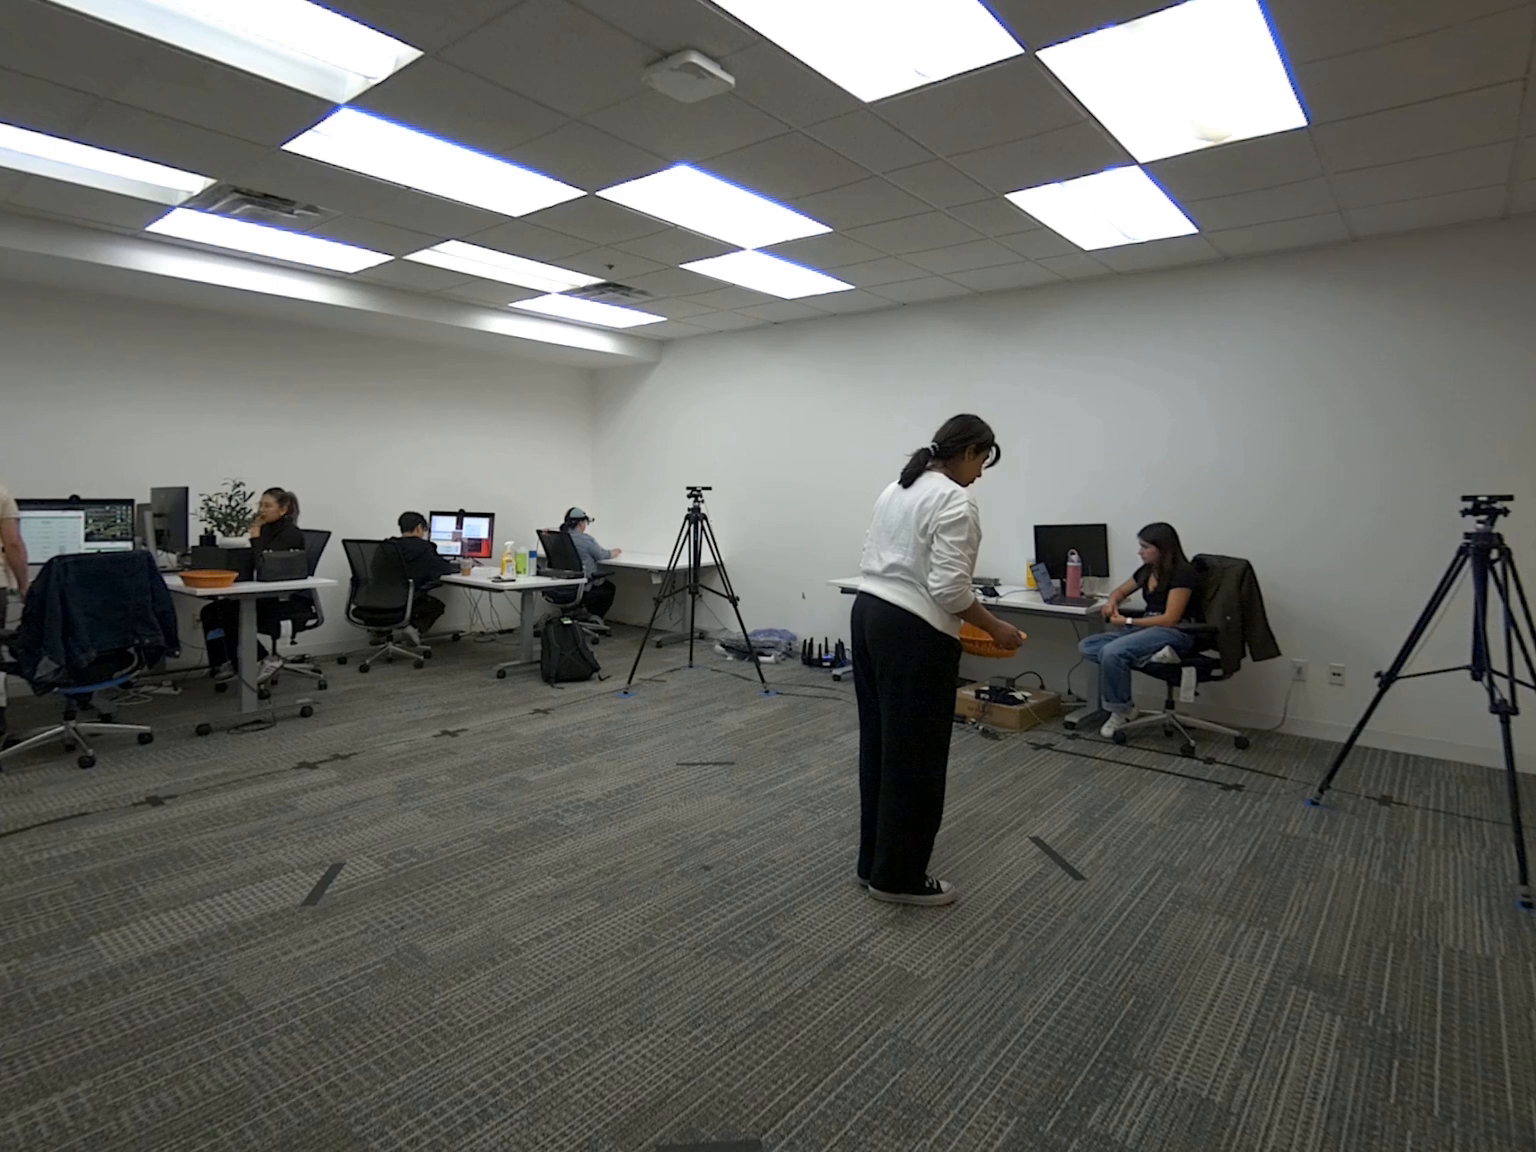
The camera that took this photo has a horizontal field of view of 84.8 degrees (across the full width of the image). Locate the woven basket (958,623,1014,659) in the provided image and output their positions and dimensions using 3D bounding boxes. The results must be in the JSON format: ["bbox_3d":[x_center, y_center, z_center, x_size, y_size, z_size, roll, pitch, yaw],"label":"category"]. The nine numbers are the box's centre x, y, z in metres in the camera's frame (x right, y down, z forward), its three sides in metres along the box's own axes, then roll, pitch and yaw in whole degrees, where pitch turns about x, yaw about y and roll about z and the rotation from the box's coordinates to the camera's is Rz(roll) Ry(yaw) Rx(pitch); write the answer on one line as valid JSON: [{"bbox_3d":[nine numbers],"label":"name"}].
[{"bbox_3d":[0.772,0.234,3.025,0.249,0.073,0.358,-1,9,-14],"label":"woven basket"}]
